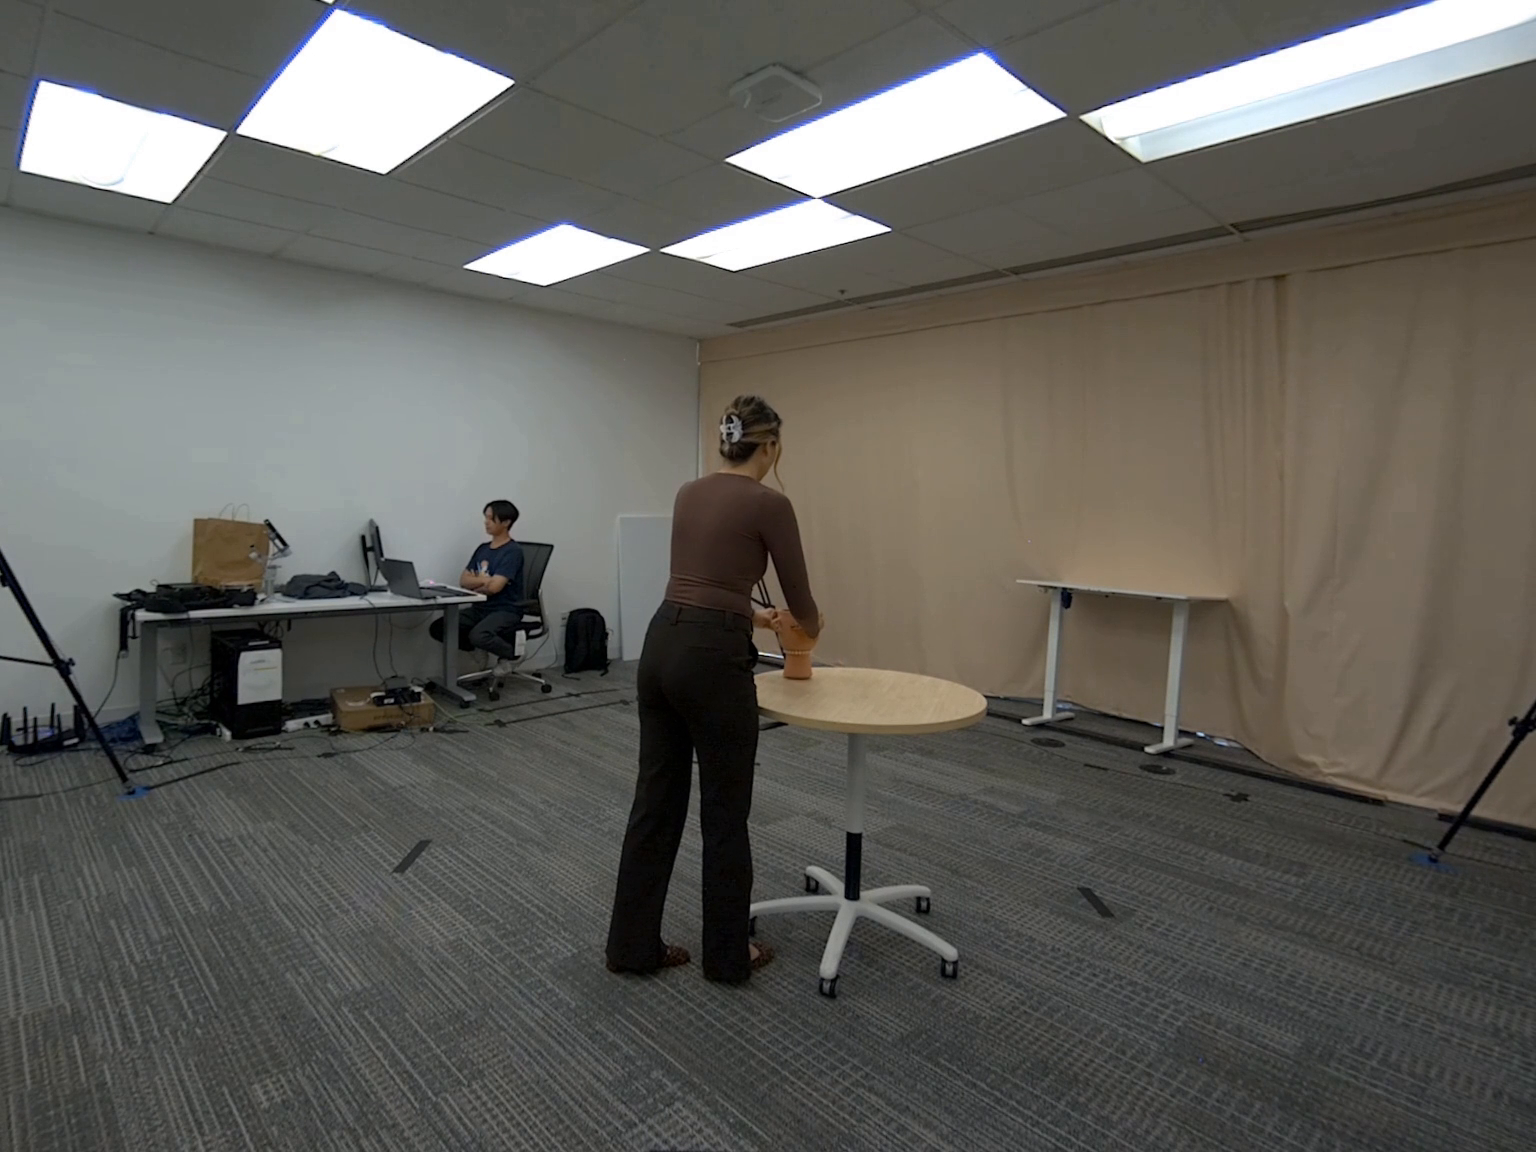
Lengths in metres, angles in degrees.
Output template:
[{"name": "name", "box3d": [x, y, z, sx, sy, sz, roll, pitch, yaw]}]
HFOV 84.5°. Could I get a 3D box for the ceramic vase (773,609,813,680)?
[{"name": "ceramic vase", "box3d": [0.098, 0.227, 2.811, 0.160, 0.220, 0.133, -1, 1, 14]}]
